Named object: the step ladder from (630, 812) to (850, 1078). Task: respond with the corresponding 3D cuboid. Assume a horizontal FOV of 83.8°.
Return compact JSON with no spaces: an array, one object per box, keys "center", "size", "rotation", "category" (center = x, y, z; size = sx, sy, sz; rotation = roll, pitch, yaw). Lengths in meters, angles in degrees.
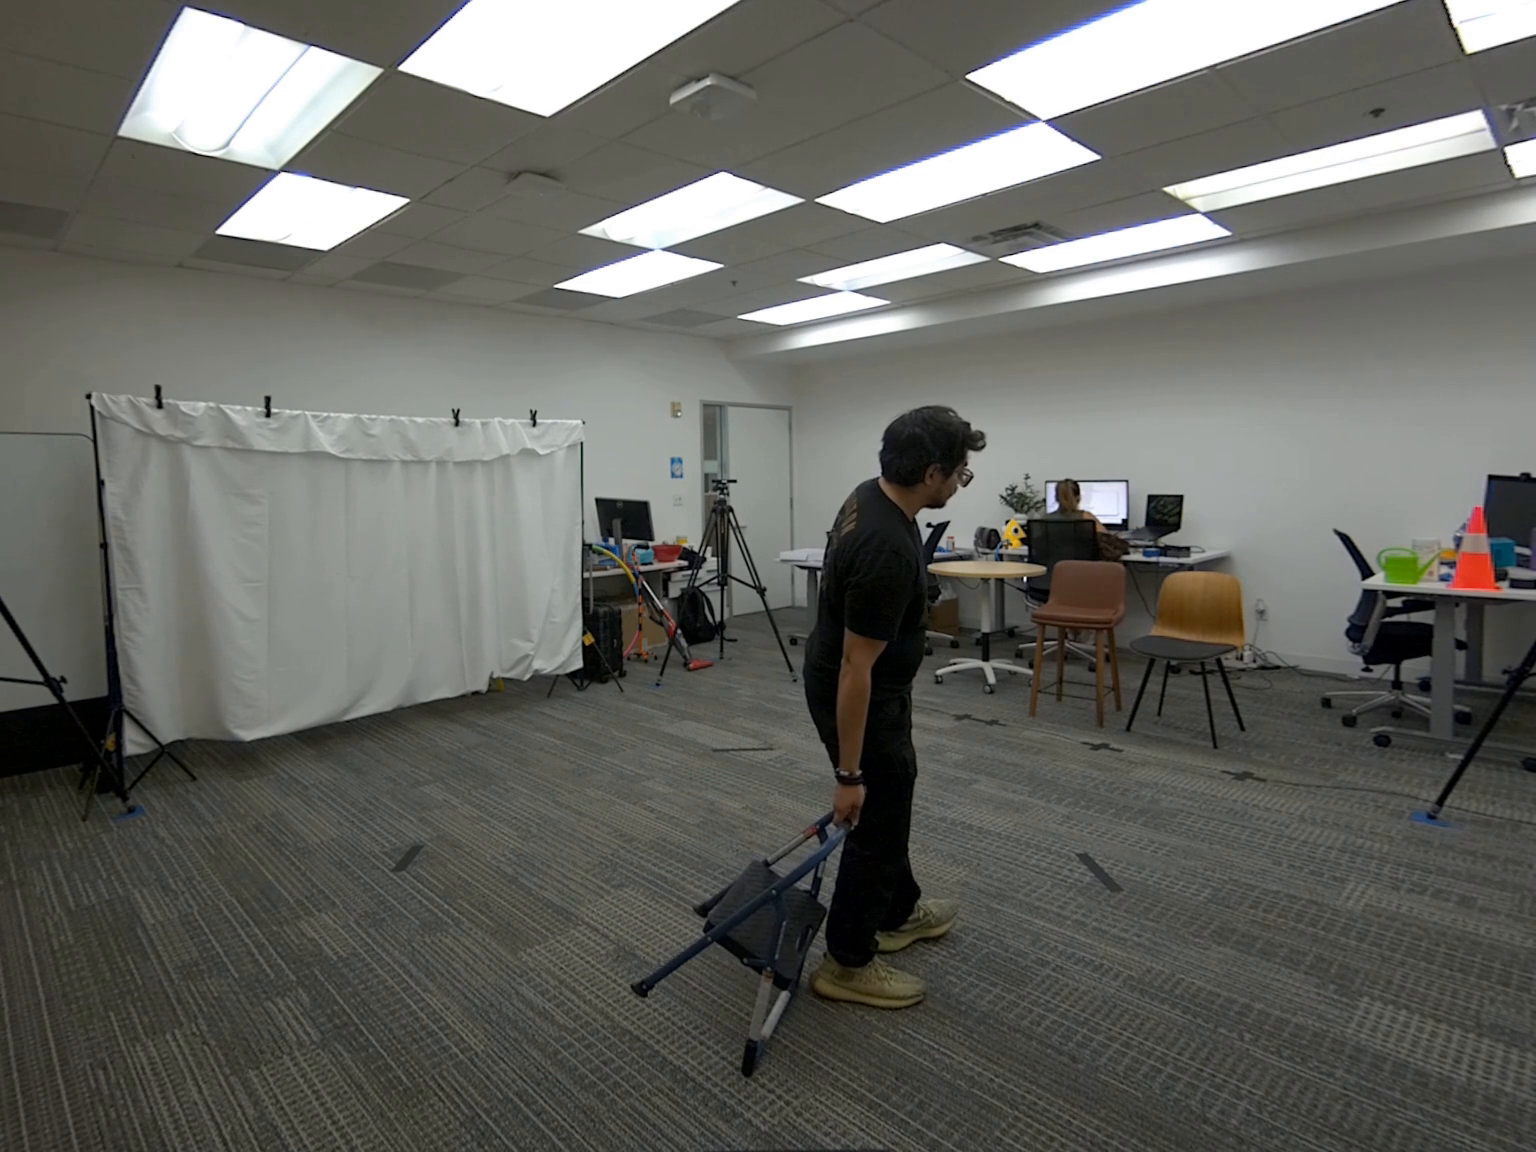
[{"center":[0.019,0.822,2.154],"size":[0.356,0.603,0.425],"rotation":[30,14,13],"category":"step ladder"}]
